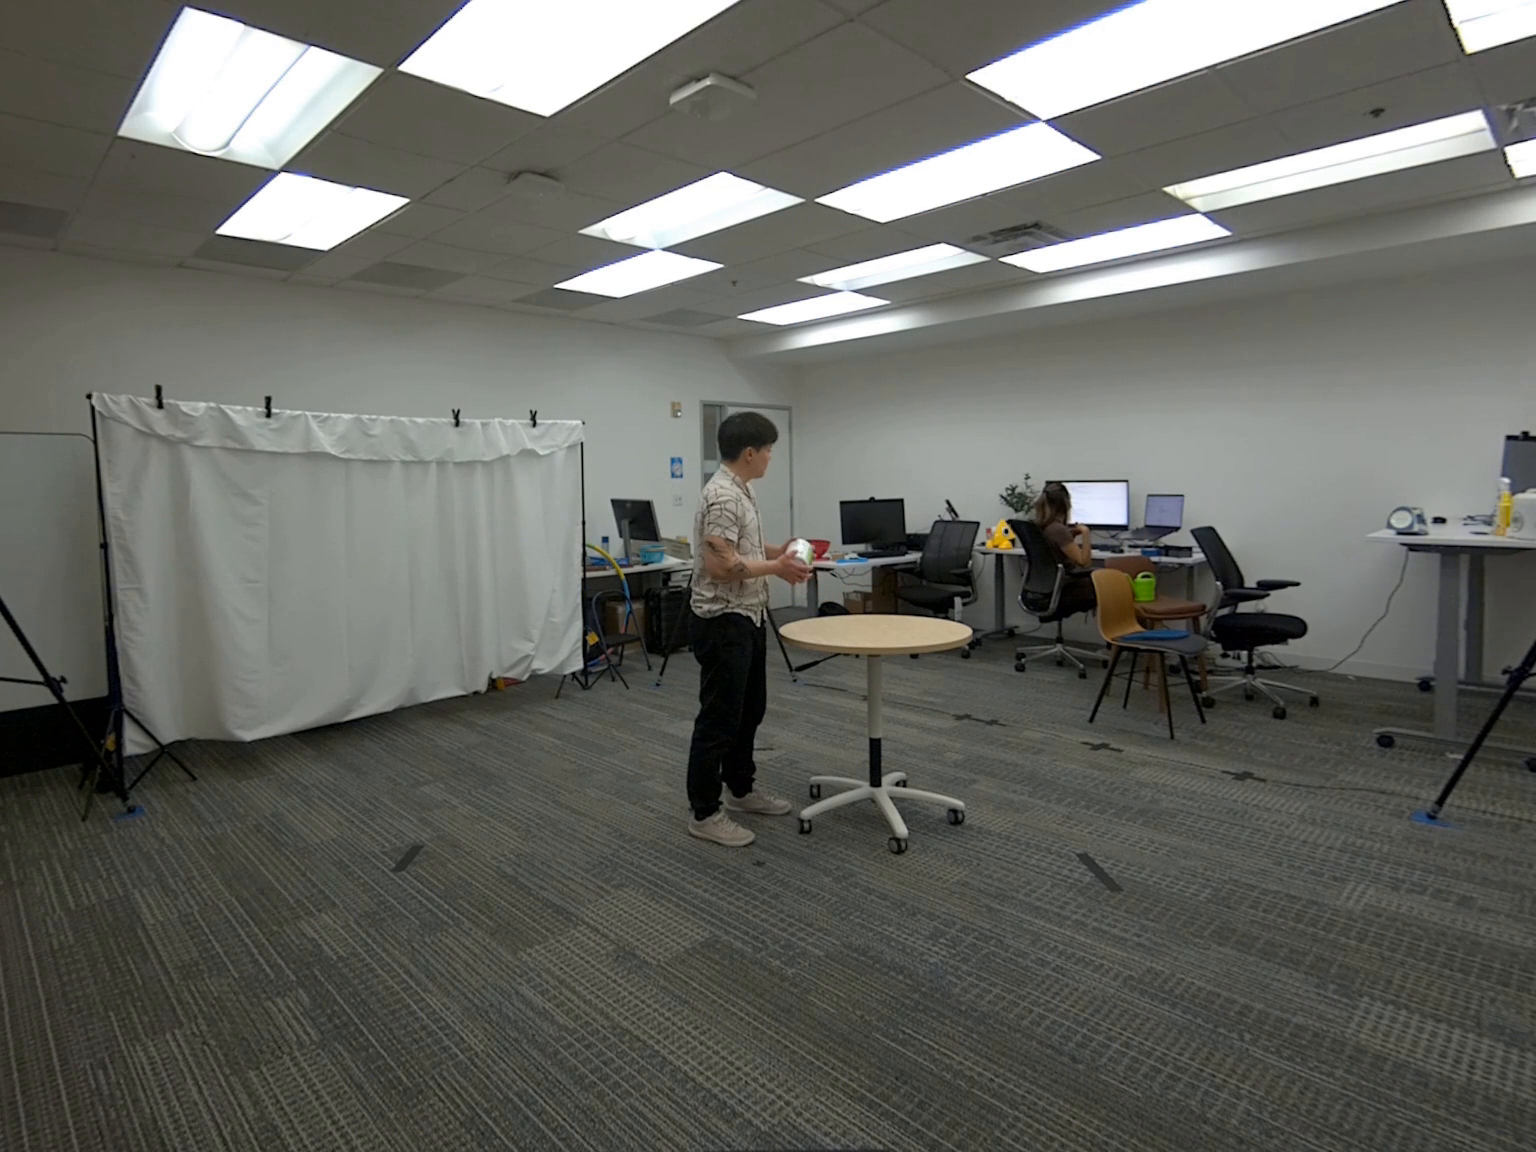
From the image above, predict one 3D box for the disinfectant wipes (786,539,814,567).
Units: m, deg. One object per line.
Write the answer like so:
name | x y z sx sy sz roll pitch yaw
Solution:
disinfectant wipes | 0.111 -0.060 3.389 0.119 0.115 0.219 0 21 9
